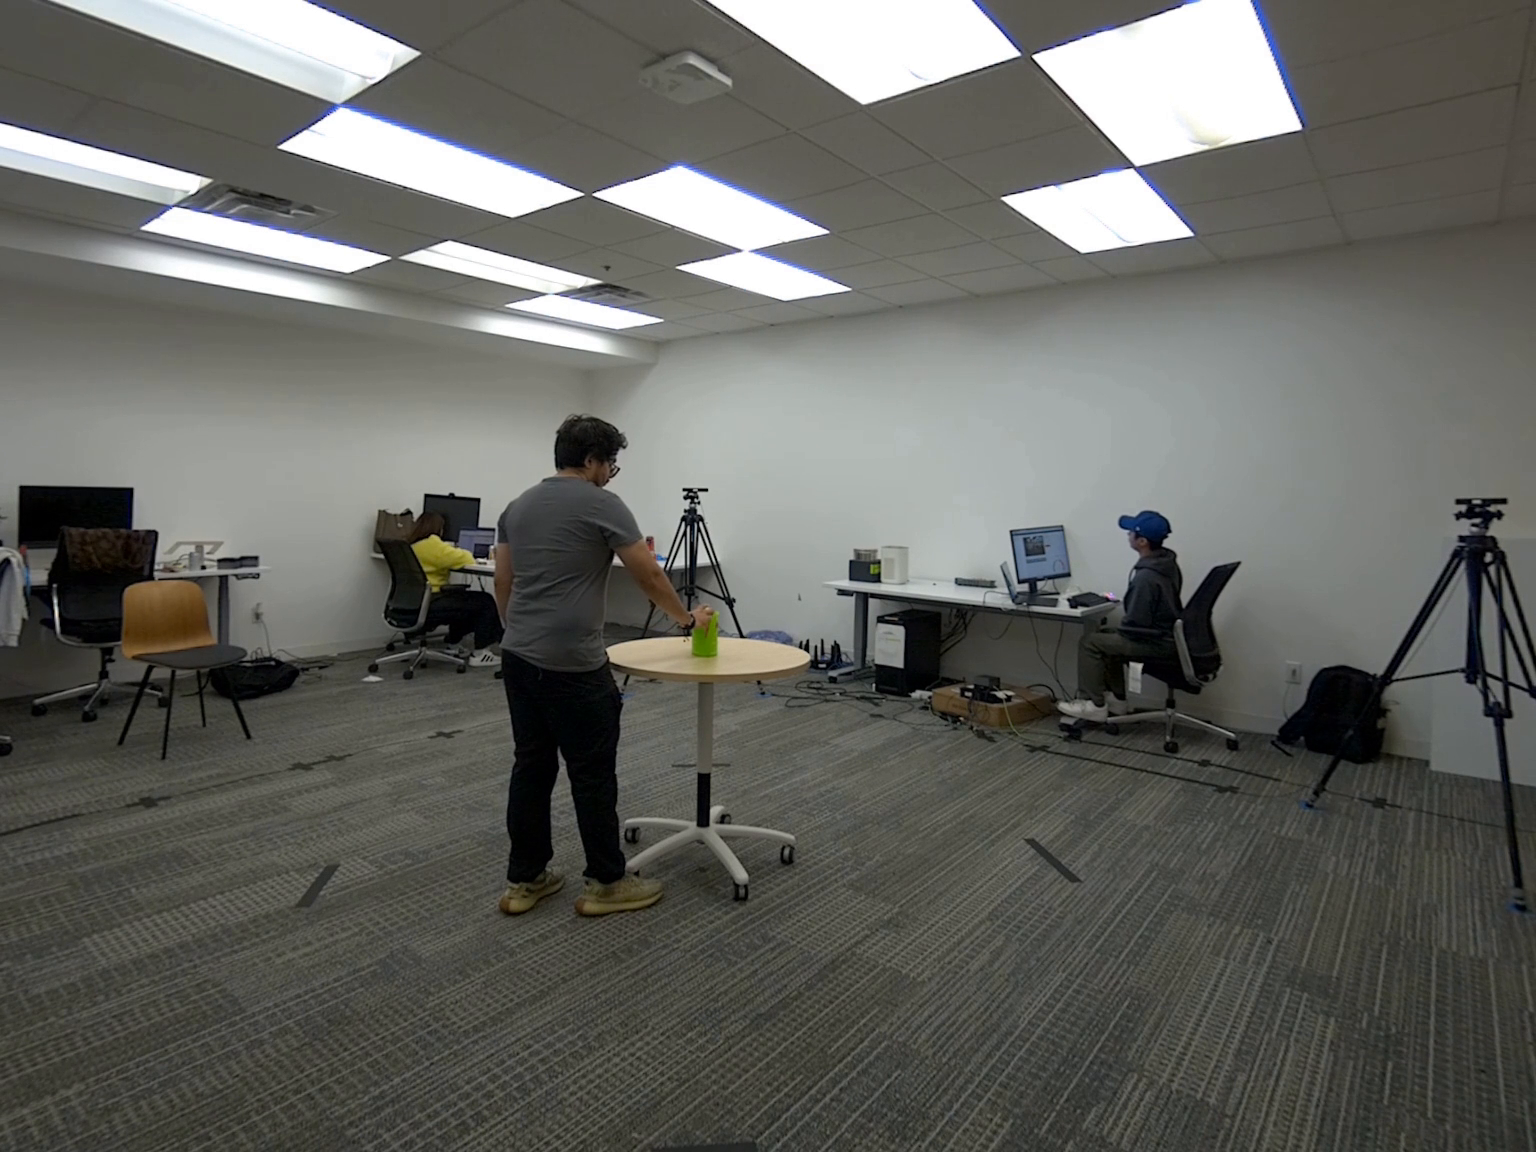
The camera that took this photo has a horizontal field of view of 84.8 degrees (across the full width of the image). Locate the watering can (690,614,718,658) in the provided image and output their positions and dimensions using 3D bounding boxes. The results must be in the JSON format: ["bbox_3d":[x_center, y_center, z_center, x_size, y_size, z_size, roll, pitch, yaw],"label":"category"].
[{"bbox_3d":[-0.241,0.203,3.084,0.098,0.177,0.279,1,2,-5],"label":"watering can"}]
